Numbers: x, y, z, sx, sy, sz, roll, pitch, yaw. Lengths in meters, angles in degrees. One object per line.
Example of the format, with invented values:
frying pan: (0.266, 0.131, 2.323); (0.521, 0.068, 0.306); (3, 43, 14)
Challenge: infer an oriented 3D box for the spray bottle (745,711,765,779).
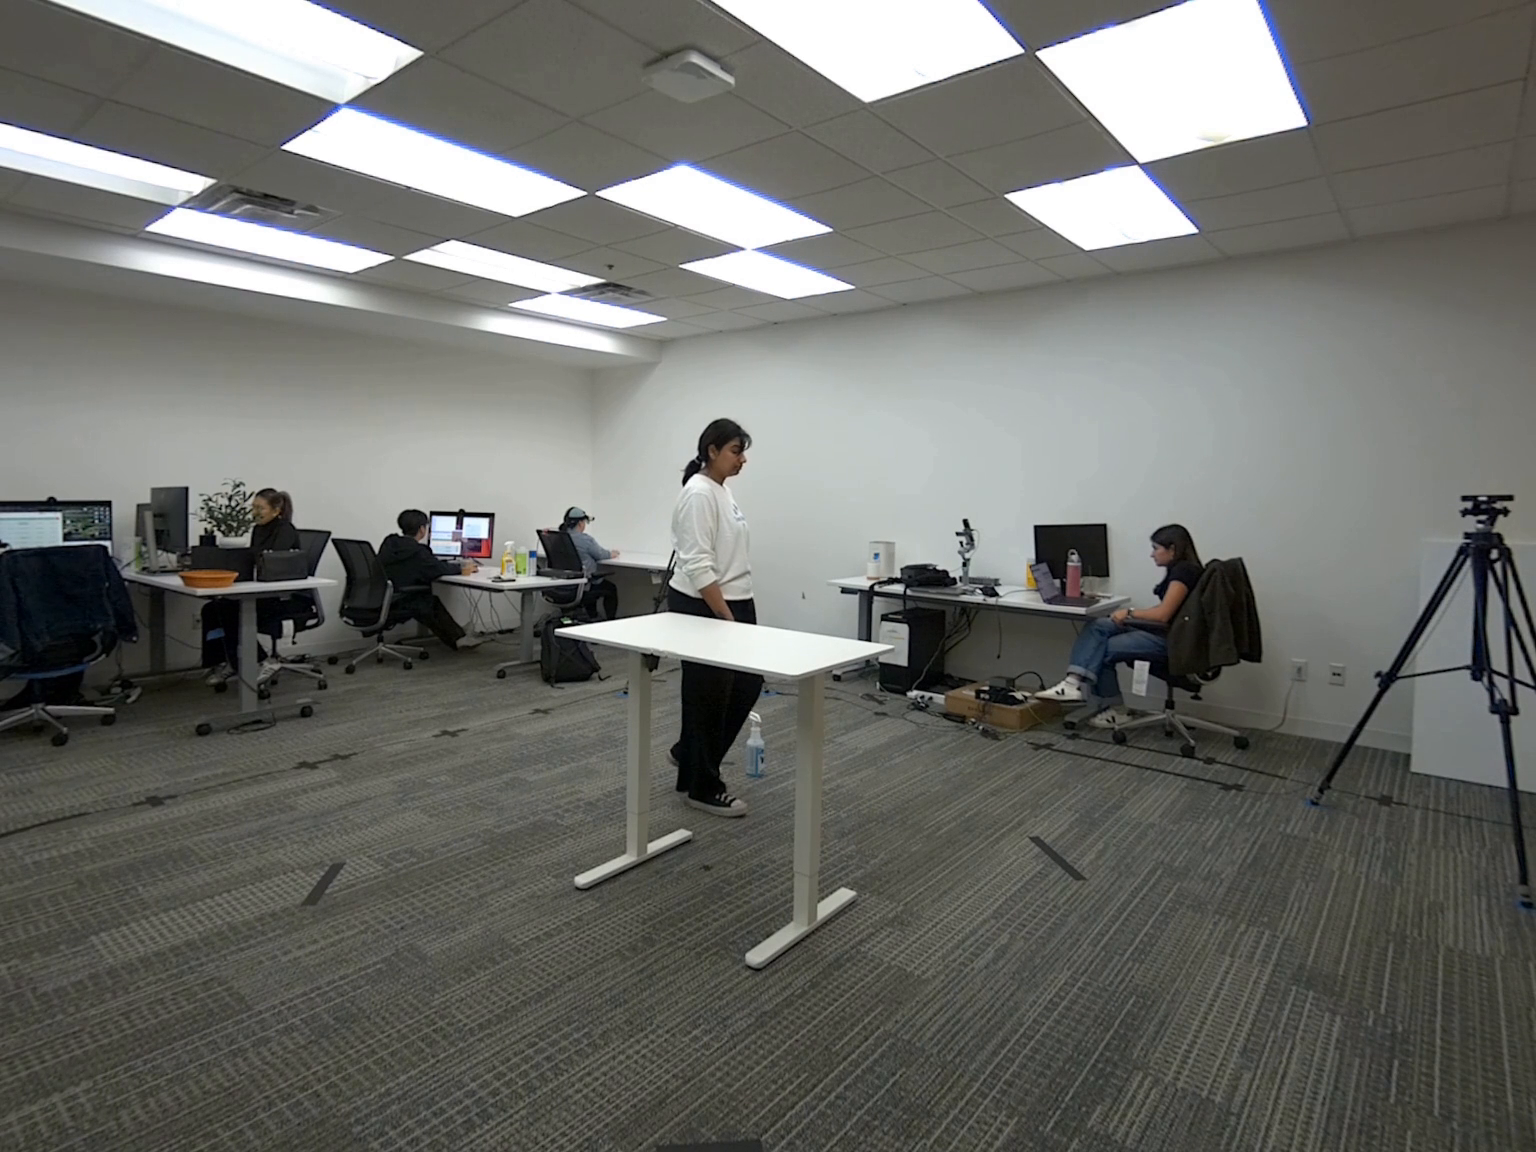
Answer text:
spray bottle: (-0.060, 0.822, 4.151); (0.087, 0.297, 0.090); (1, 1, -5)
